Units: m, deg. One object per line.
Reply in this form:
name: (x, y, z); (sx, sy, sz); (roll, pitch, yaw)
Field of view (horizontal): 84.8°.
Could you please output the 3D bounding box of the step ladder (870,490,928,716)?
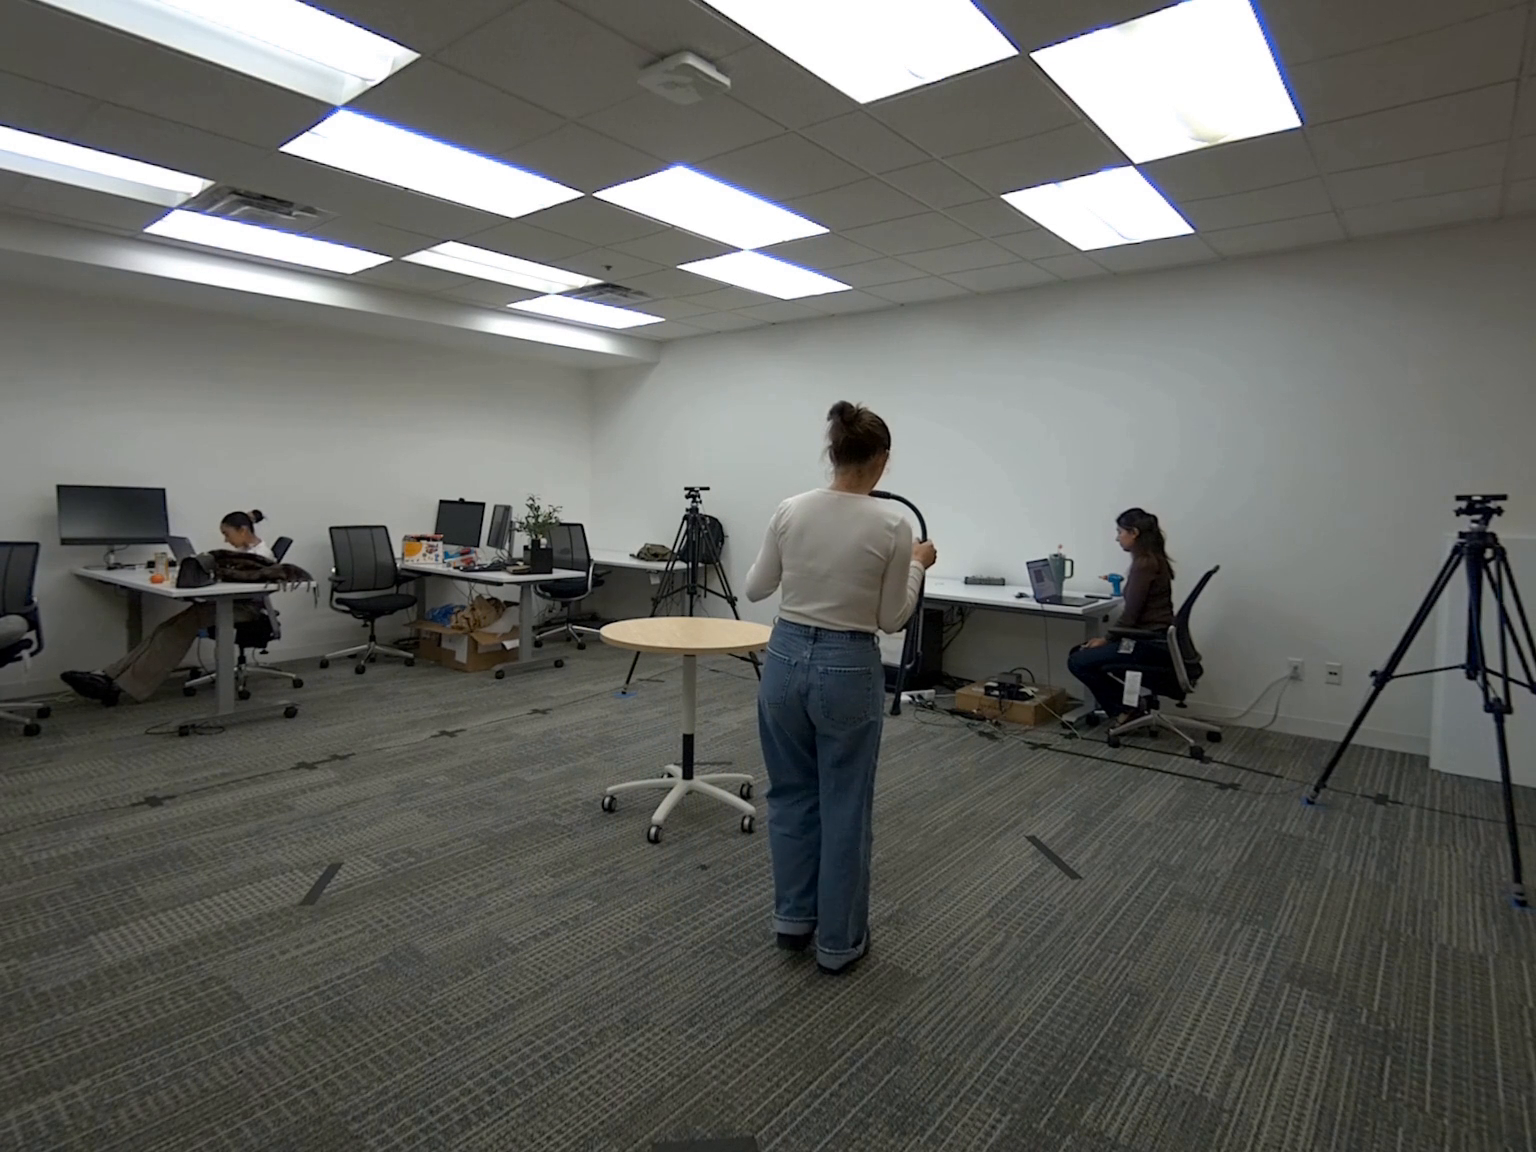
step ladder: (0.265, 0.036, 2.652); (0.441, 0.599, 0.345); (10, 15, 21)
